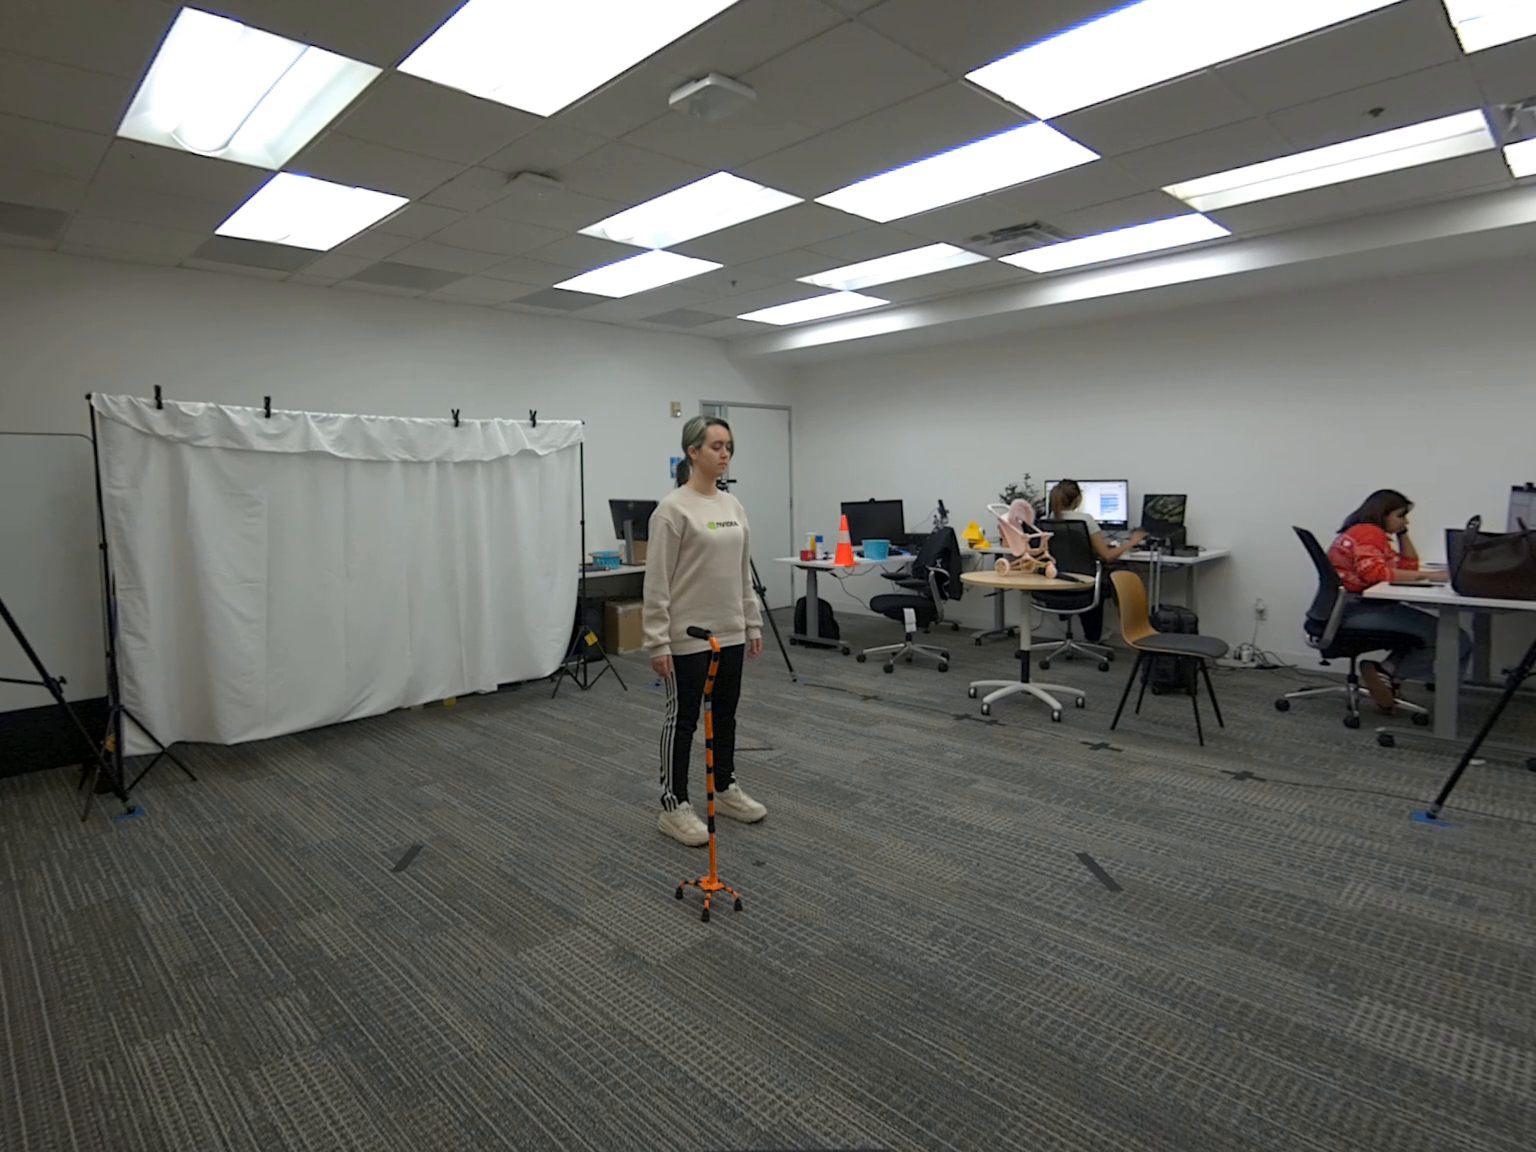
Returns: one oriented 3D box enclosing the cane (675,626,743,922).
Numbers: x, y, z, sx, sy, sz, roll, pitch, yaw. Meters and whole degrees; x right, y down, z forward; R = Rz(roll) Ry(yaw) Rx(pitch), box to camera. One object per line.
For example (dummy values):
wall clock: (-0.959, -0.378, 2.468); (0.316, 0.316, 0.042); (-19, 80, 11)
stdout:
cane: (-0.204, 0.632, 2.797); (0.148, 0.904, 0.212); (-4, 5, -33)
